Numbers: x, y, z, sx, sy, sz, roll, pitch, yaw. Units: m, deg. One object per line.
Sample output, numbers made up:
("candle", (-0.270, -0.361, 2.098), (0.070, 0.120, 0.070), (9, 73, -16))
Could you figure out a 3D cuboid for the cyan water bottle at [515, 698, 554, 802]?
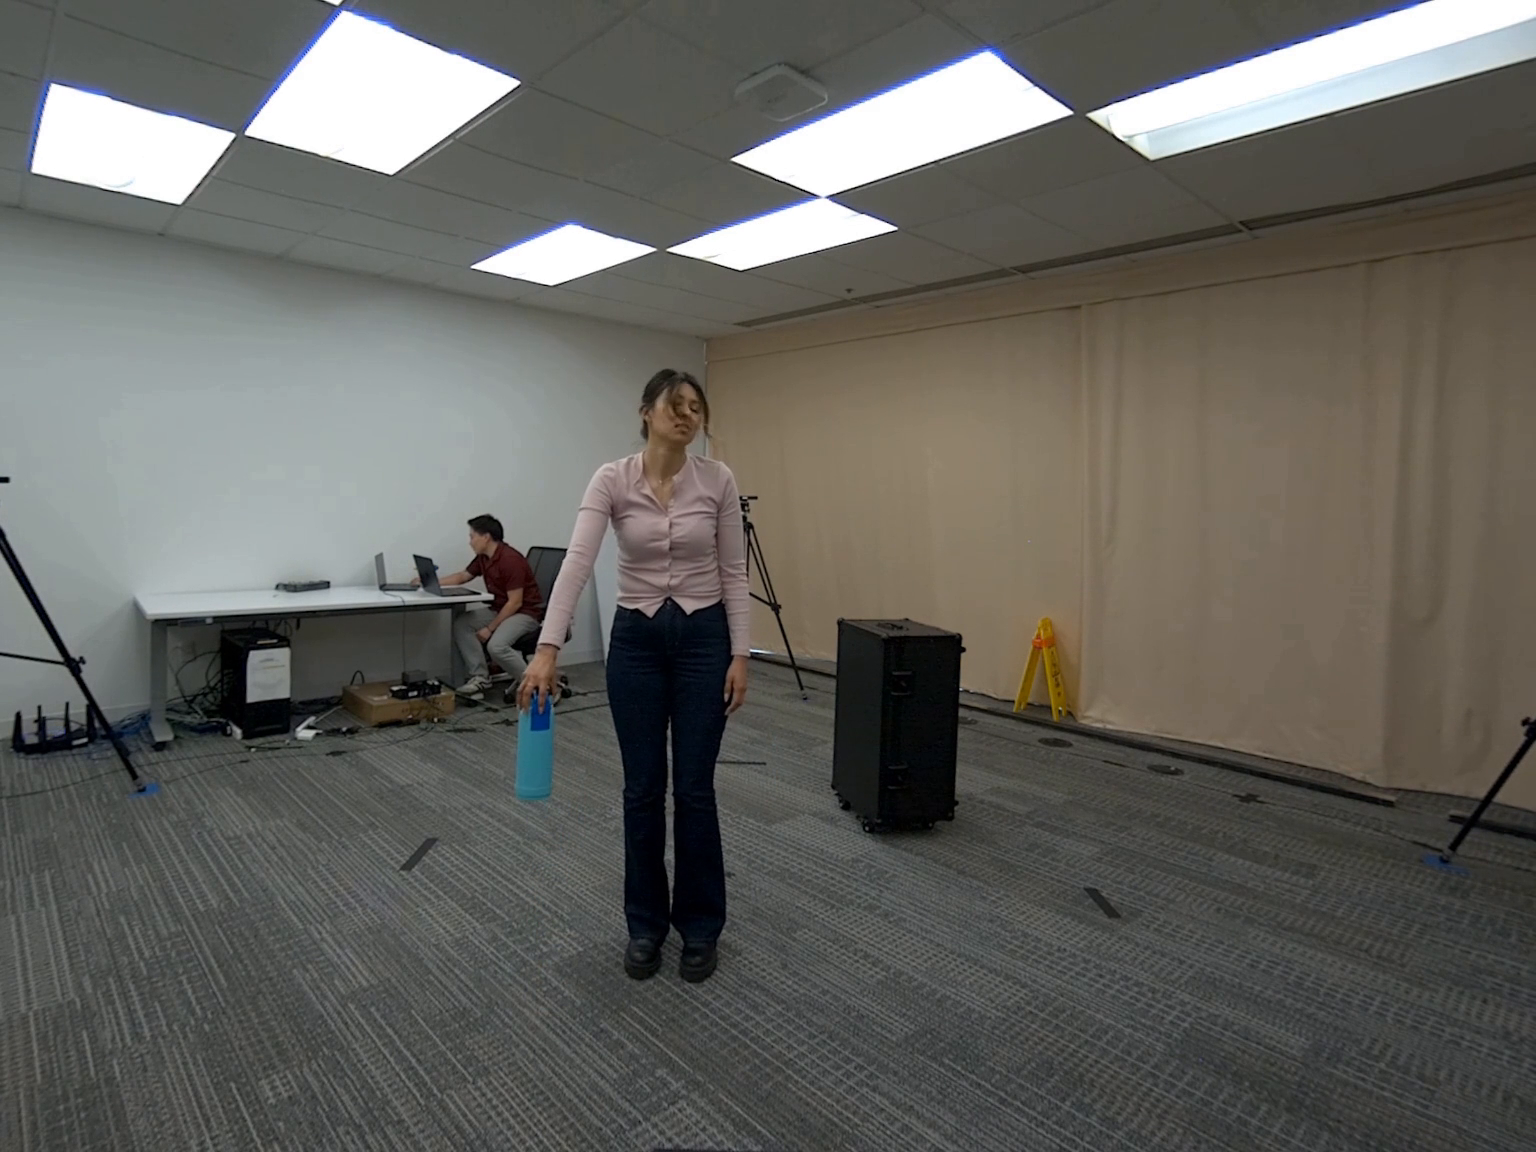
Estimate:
("cyan water bottle", (-0.588, 0.414, 2.112), (0.092, 0.283, 0.092), (2, 0, -1))
